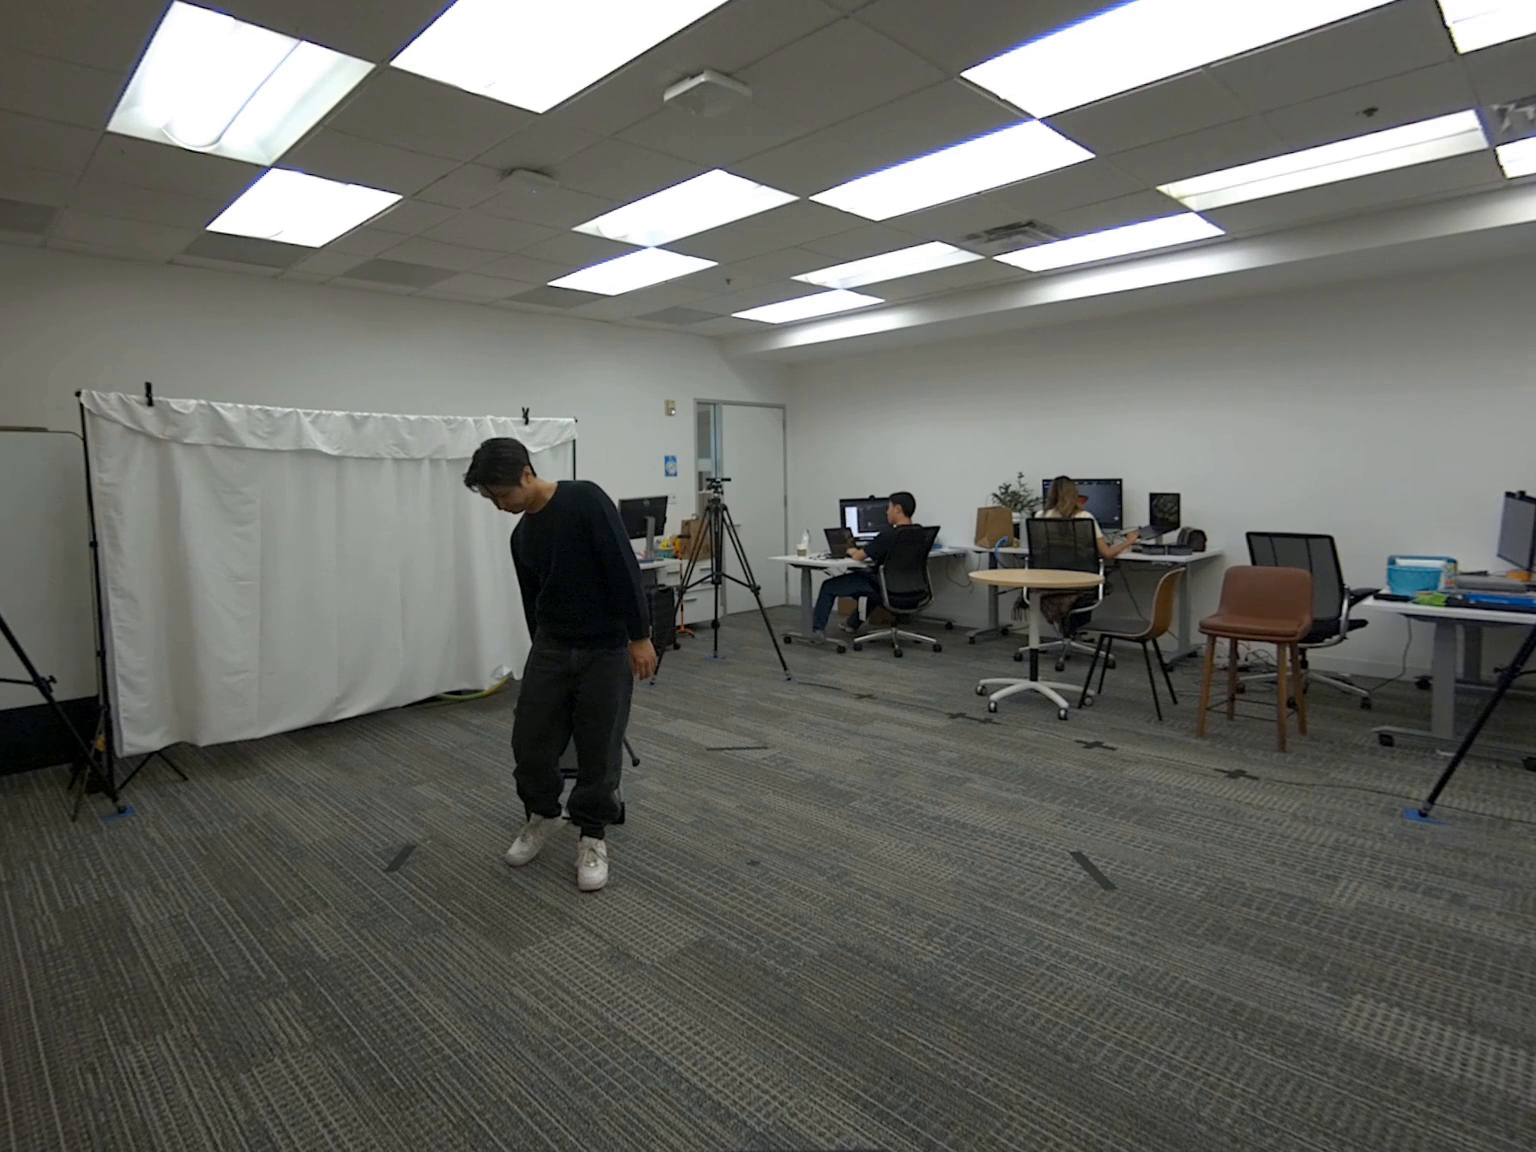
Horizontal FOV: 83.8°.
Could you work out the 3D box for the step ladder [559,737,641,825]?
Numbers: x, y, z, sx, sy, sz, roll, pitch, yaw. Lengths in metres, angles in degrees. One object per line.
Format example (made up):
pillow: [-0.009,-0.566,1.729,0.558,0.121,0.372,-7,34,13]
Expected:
step ladder: [-0.803,0.680,3.484,0.433,0.589,0.357,-1,35,4]
